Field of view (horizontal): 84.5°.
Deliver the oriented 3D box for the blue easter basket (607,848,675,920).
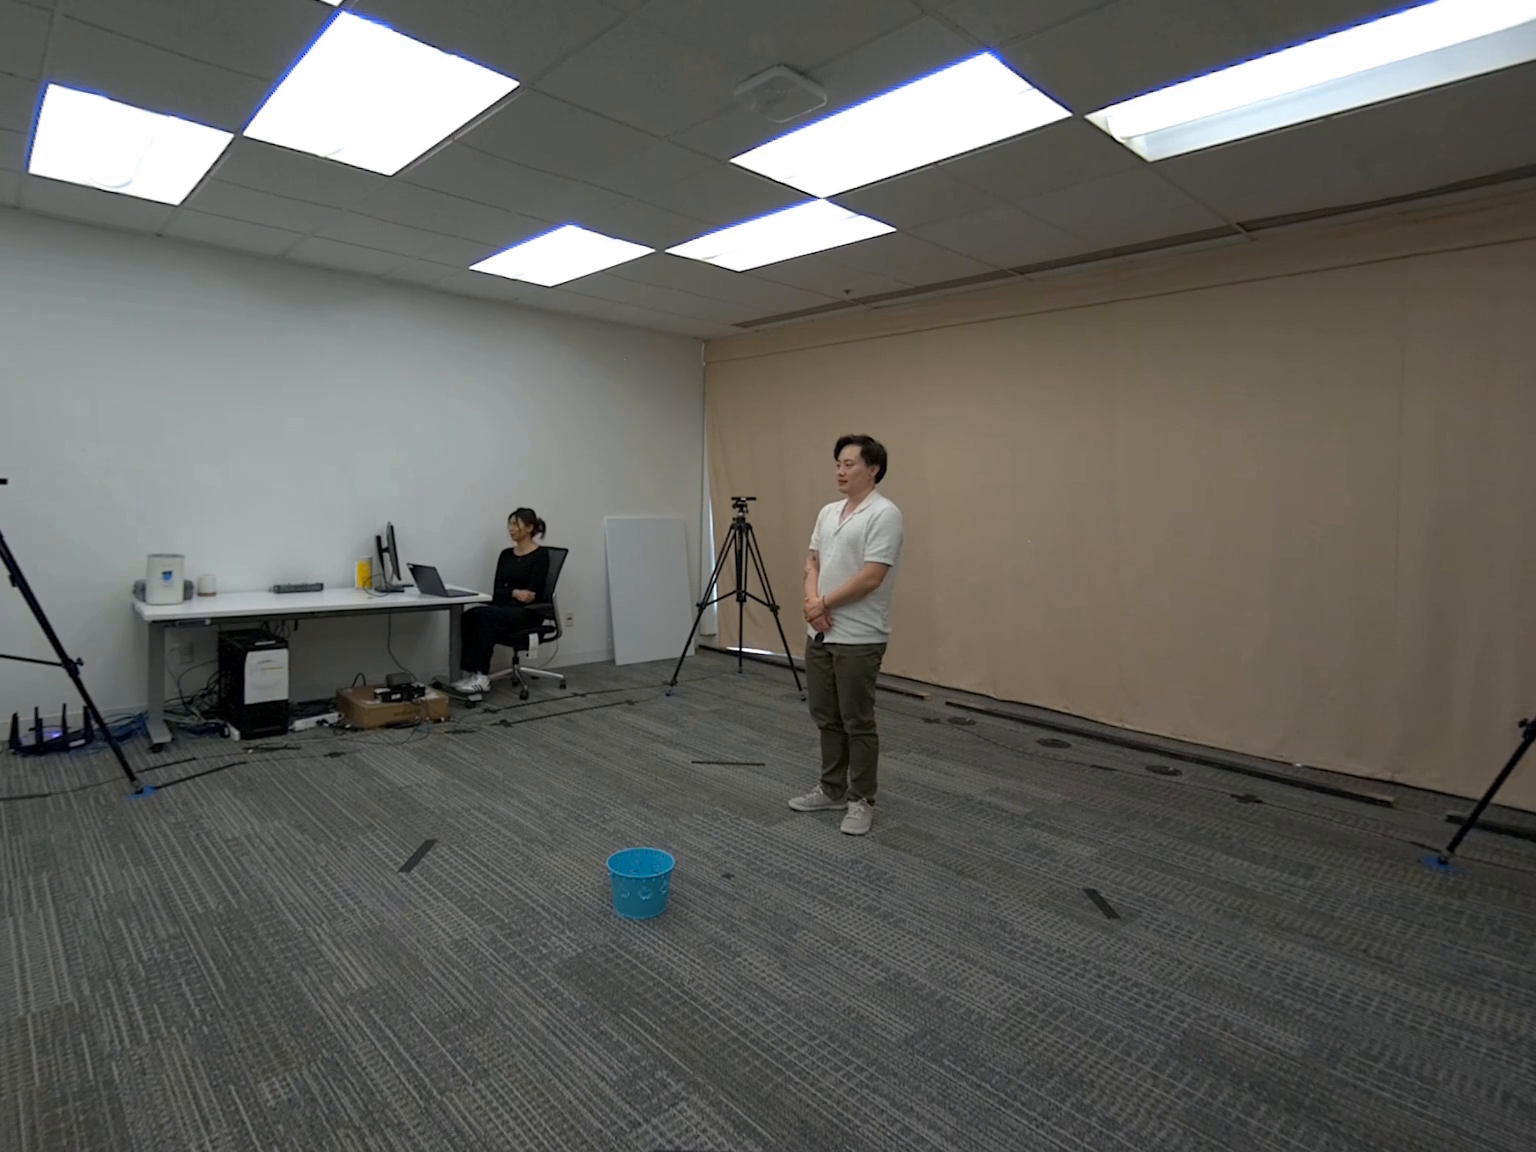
[{"bbox_3d":[-0.440,1.043,2.864,0.243,0.155,0.244,1,5,-1],"label":"blue easter basket"}]
